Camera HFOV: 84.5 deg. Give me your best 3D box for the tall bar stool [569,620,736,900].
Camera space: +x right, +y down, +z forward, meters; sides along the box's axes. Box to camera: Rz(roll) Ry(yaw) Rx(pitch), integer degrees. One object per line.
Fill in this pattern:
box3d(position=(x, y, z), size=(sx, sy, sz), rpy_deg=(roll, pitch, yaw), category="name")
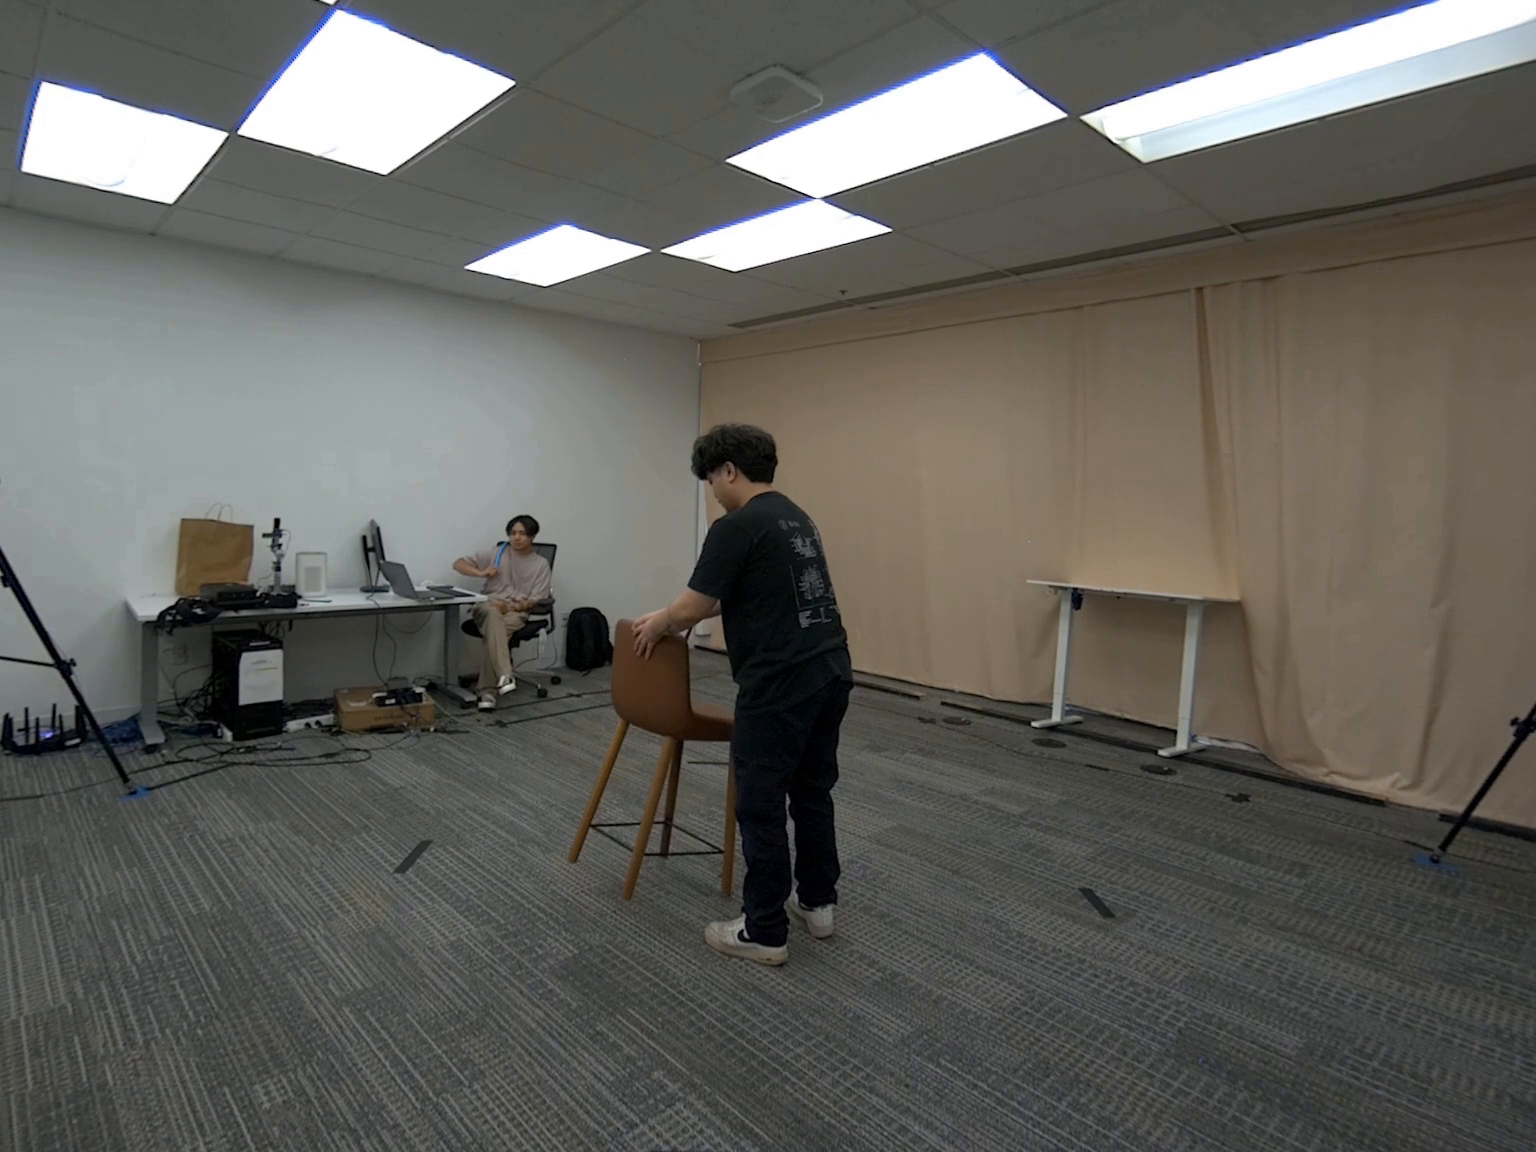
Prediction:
box3d(position=(-0.355, 0.636, 3.001), size=(0.455, 0.892, 0.468), rpy_deg=(13, -6, -41), category="tall bar stool")
